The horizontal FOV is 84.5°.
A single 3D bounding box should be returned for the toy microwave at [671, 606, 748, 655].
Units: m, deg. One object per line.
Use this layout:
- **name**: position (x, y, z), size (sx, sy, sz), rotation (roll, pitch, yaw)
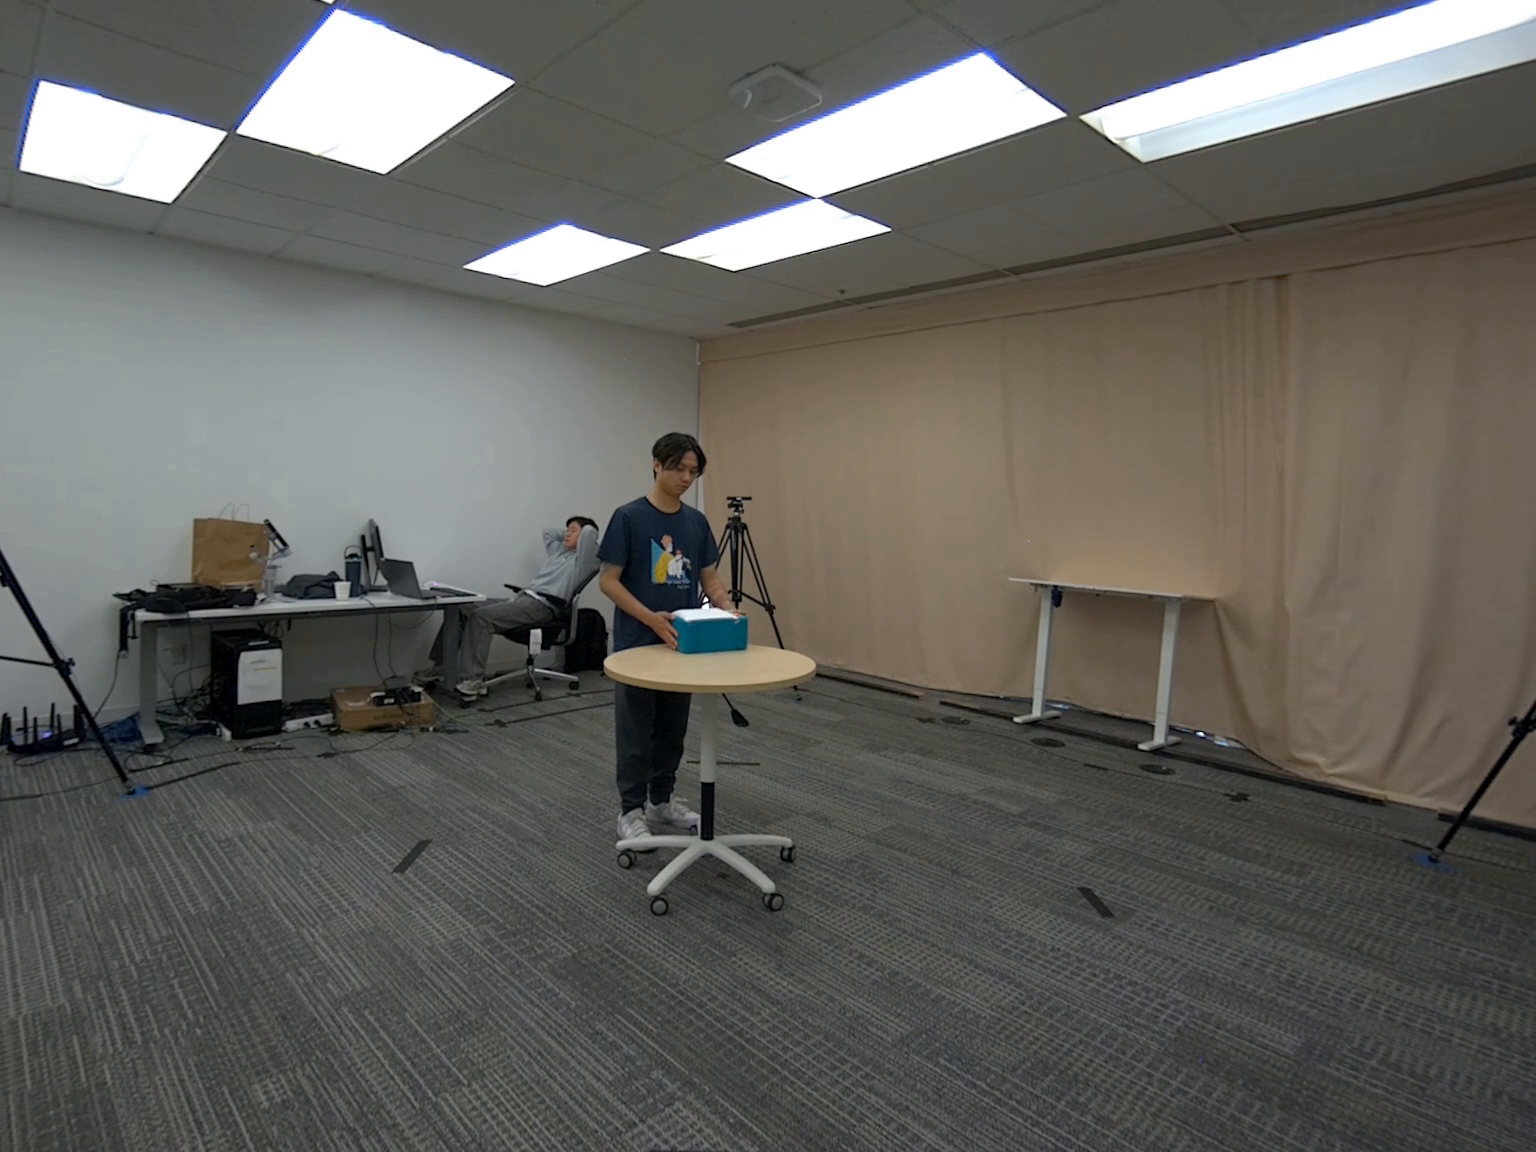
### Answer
- **toy microwave**: position (-0.243, 0.212, 3.300), size (0.281, 0.151, 0.188), rotation (-3, 8, -28)
